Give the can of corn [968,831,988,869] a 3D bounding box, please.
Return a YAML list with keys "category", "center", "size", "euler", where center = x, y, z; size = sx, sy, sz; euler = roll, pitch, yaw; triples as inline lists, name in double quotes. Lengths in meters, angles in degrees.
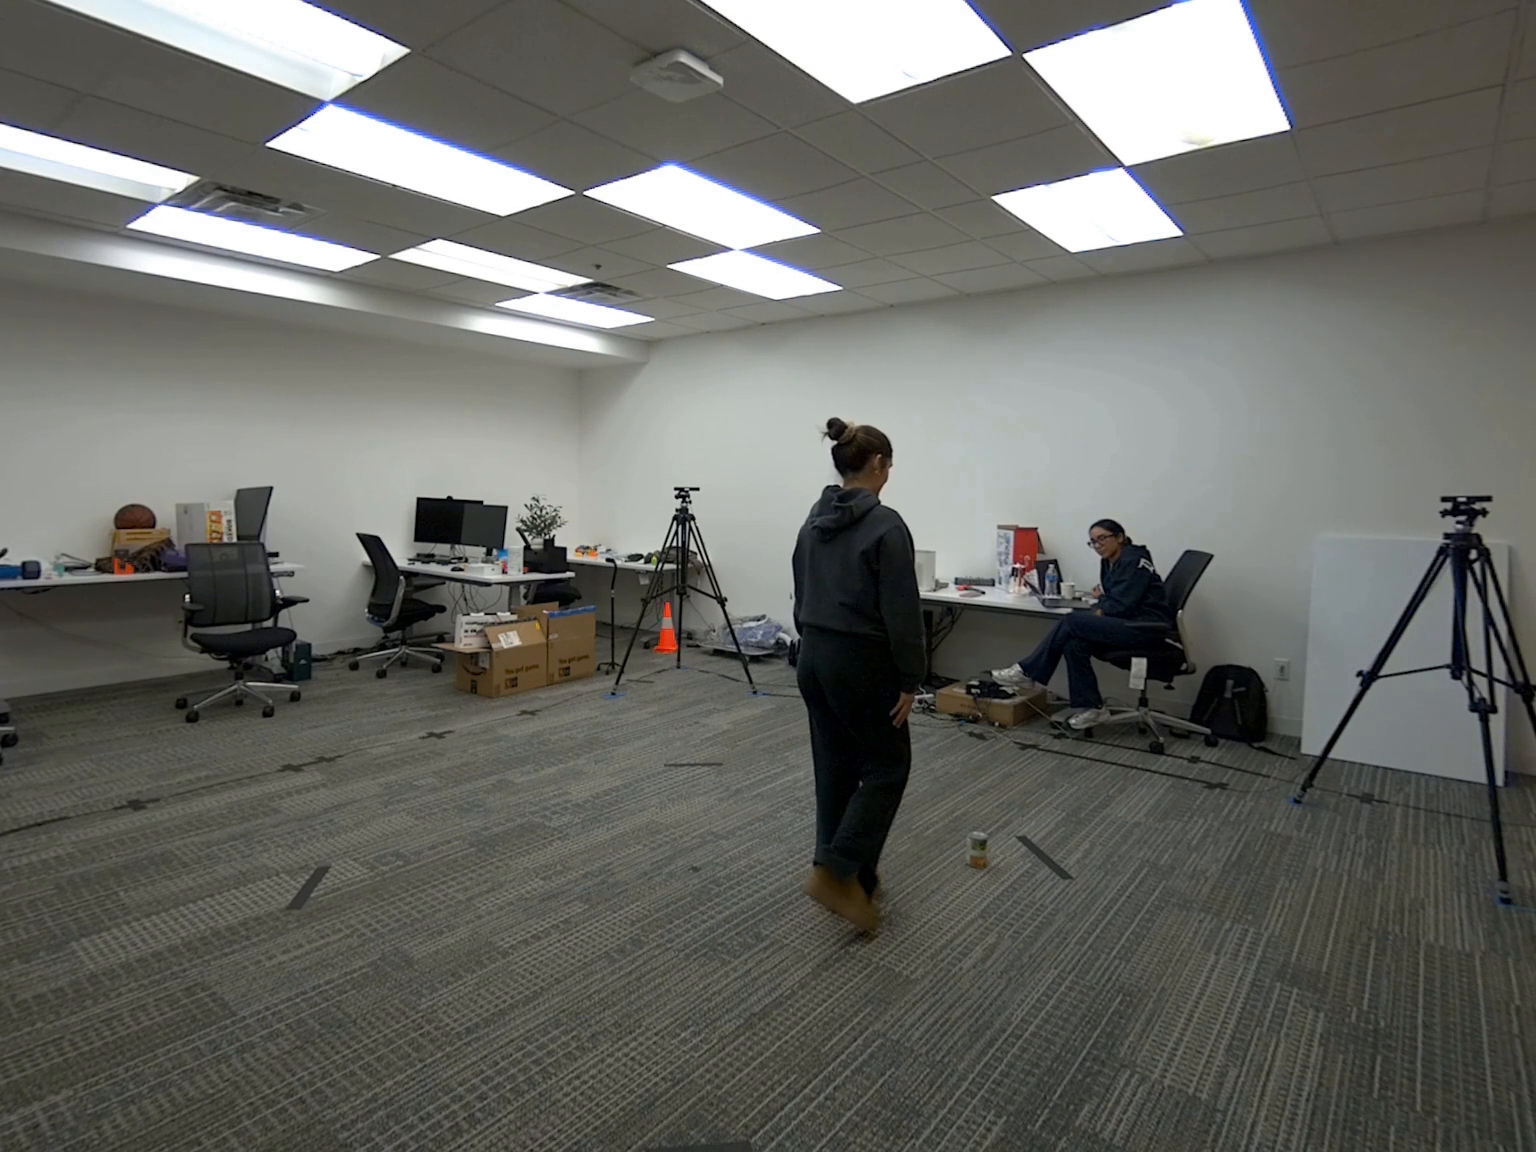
- category: "can of corn"
  center: [0.790, 1.025, 3.196]
  size: [0.074, 0.111, 0.074]
  euler: [-1, 3, -2]
